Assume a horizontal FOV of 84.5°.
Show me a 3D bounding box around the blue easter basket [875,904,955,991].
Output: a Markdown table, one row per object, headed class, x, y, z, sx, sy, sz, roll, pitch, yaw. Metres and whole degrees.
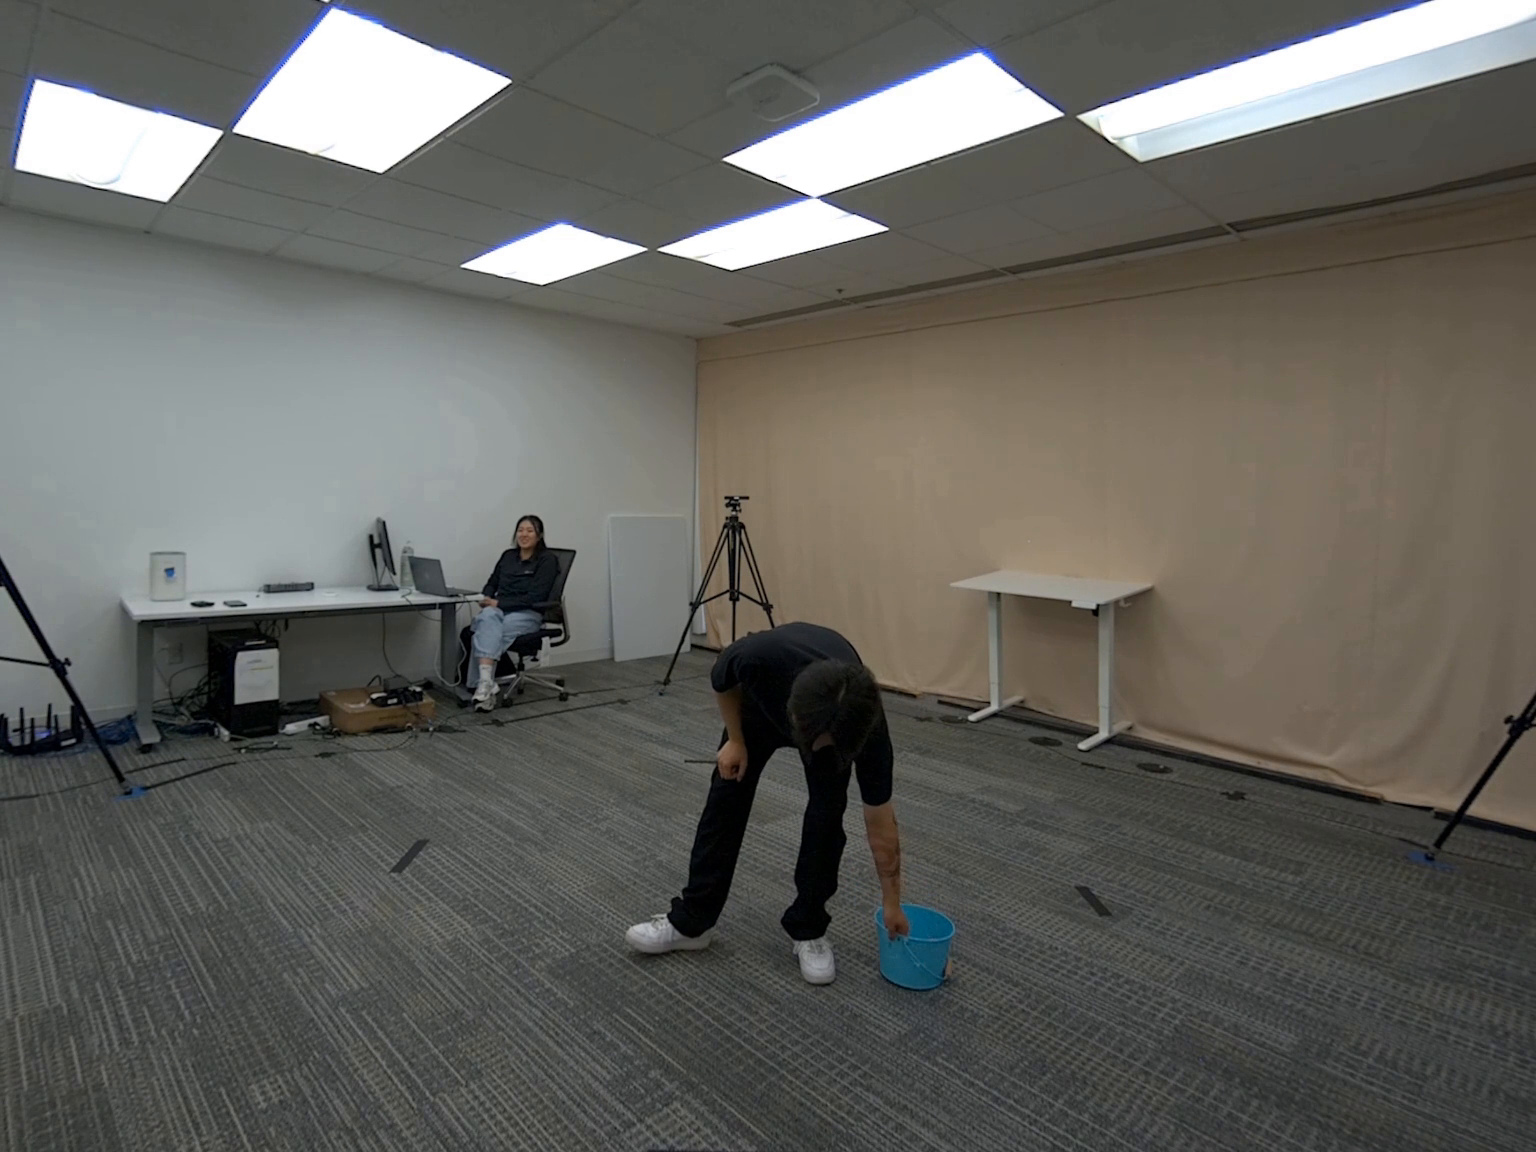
| class | x | y | z | sx | sy | sz | roll | pitch | yaw |
| --- | --- | --- | --- | --- | --- | --- | --- | --- | --- |
| blue easter basket | 0.416 | 1.096 | 2.477 | 0.243 | 0.156 | 0.244 | 3 | 3 | -1 |
